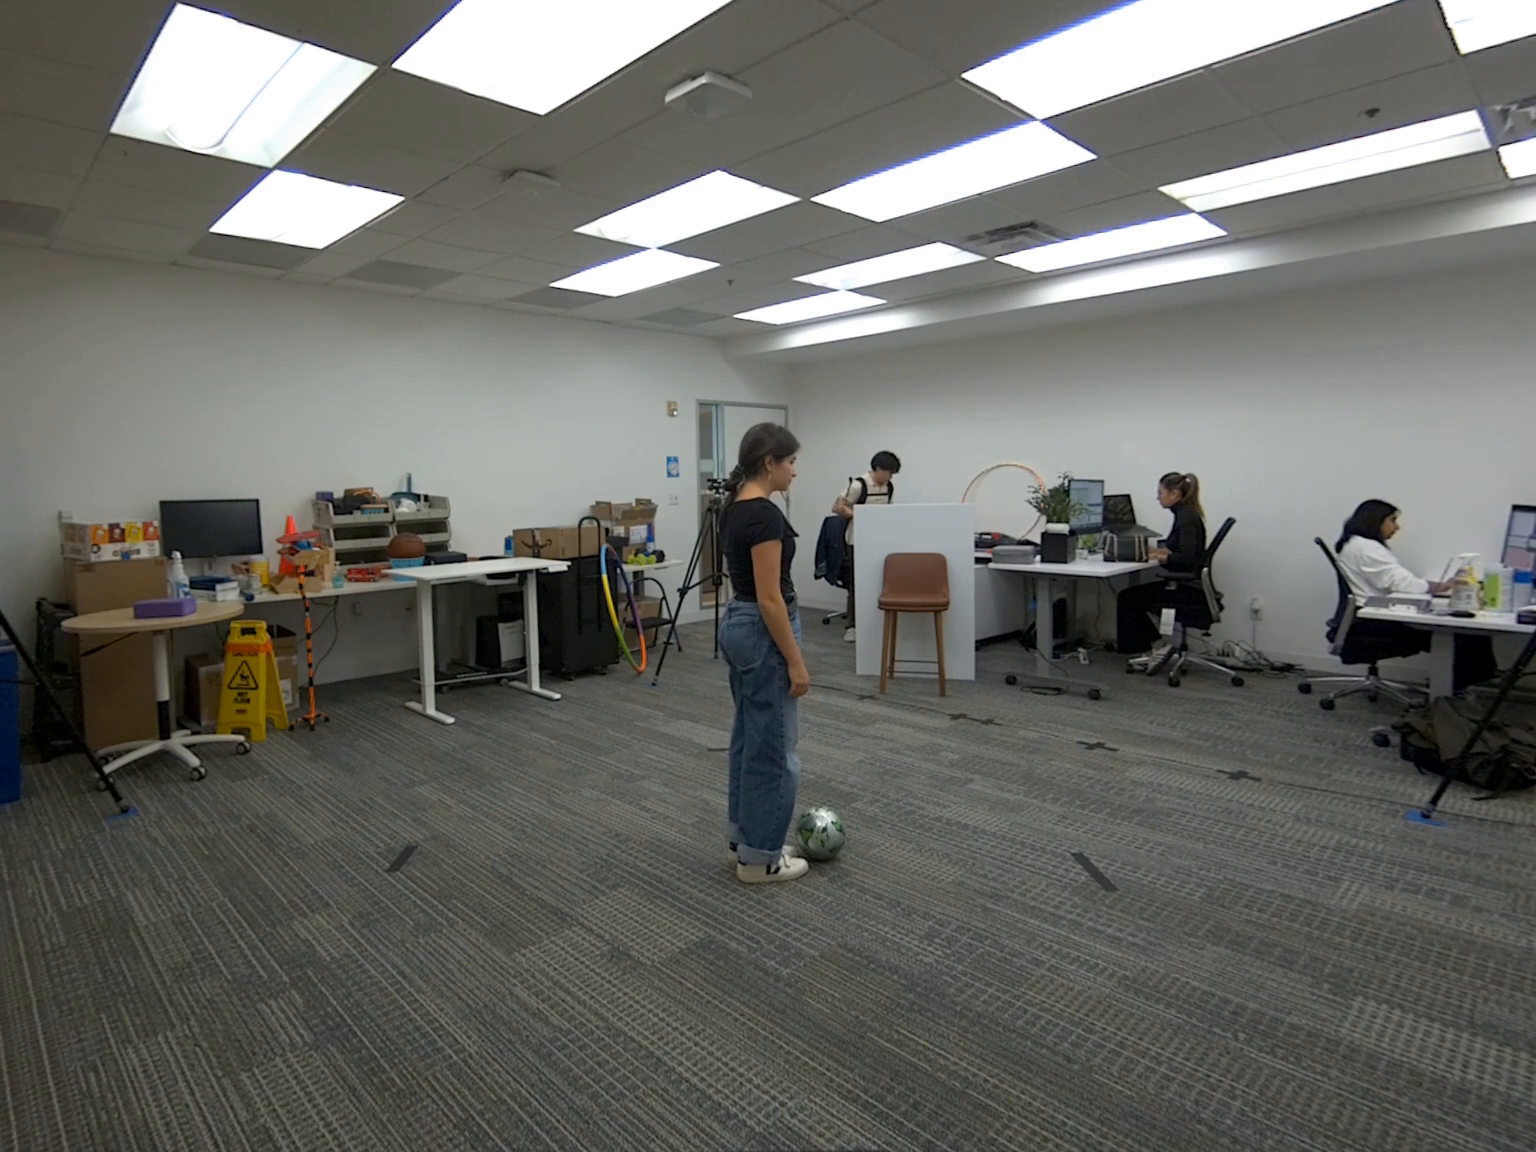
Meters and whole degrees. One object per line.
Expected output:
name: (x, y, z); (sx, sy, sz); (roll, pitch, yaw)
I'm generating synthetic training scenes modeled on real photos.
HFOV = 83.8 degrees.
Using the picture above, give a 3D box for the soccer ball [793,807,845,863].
soccer ball: (0.189, 0.941, 3.136); (0.187, 0.187, 0.188); (-1, 5, -2)
